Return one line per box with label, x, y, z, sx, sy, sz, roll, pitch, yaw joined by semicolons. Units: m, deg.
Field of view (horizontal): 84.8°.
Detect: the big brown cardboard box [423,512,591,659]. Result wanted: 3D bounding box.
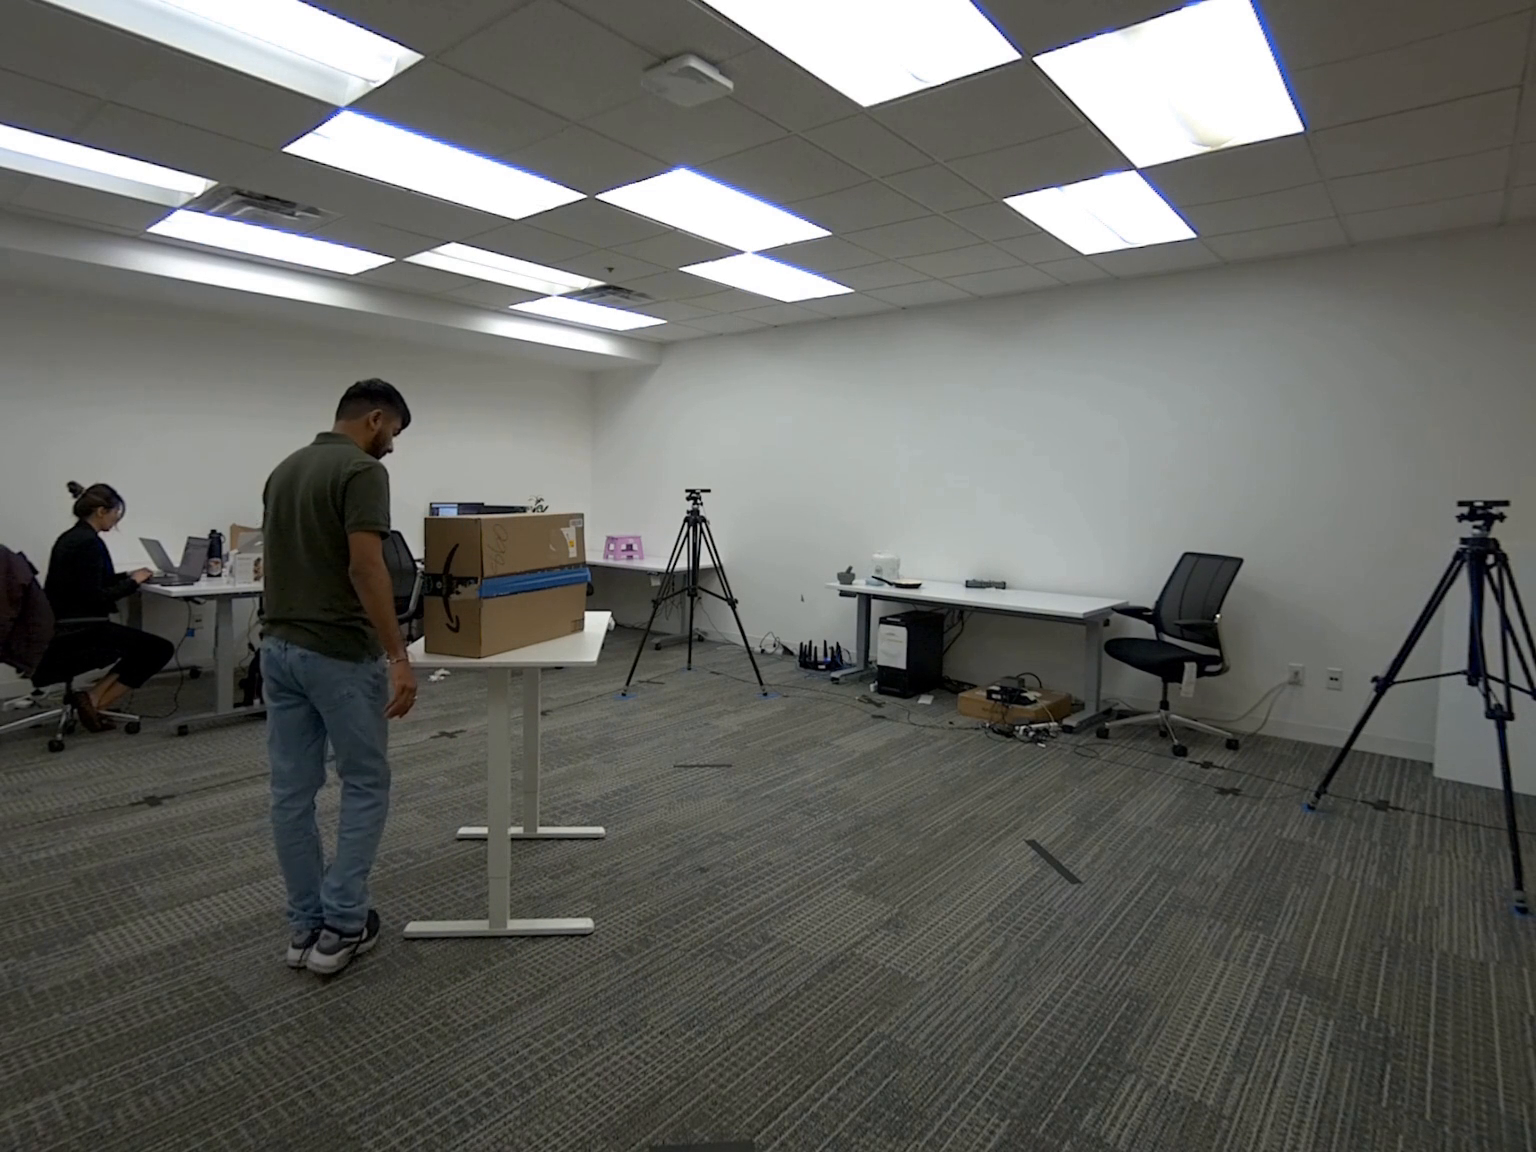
big brown cardboard box;-0.855;0.006;2.793;0.239;0.416;0.577;1;5;22
